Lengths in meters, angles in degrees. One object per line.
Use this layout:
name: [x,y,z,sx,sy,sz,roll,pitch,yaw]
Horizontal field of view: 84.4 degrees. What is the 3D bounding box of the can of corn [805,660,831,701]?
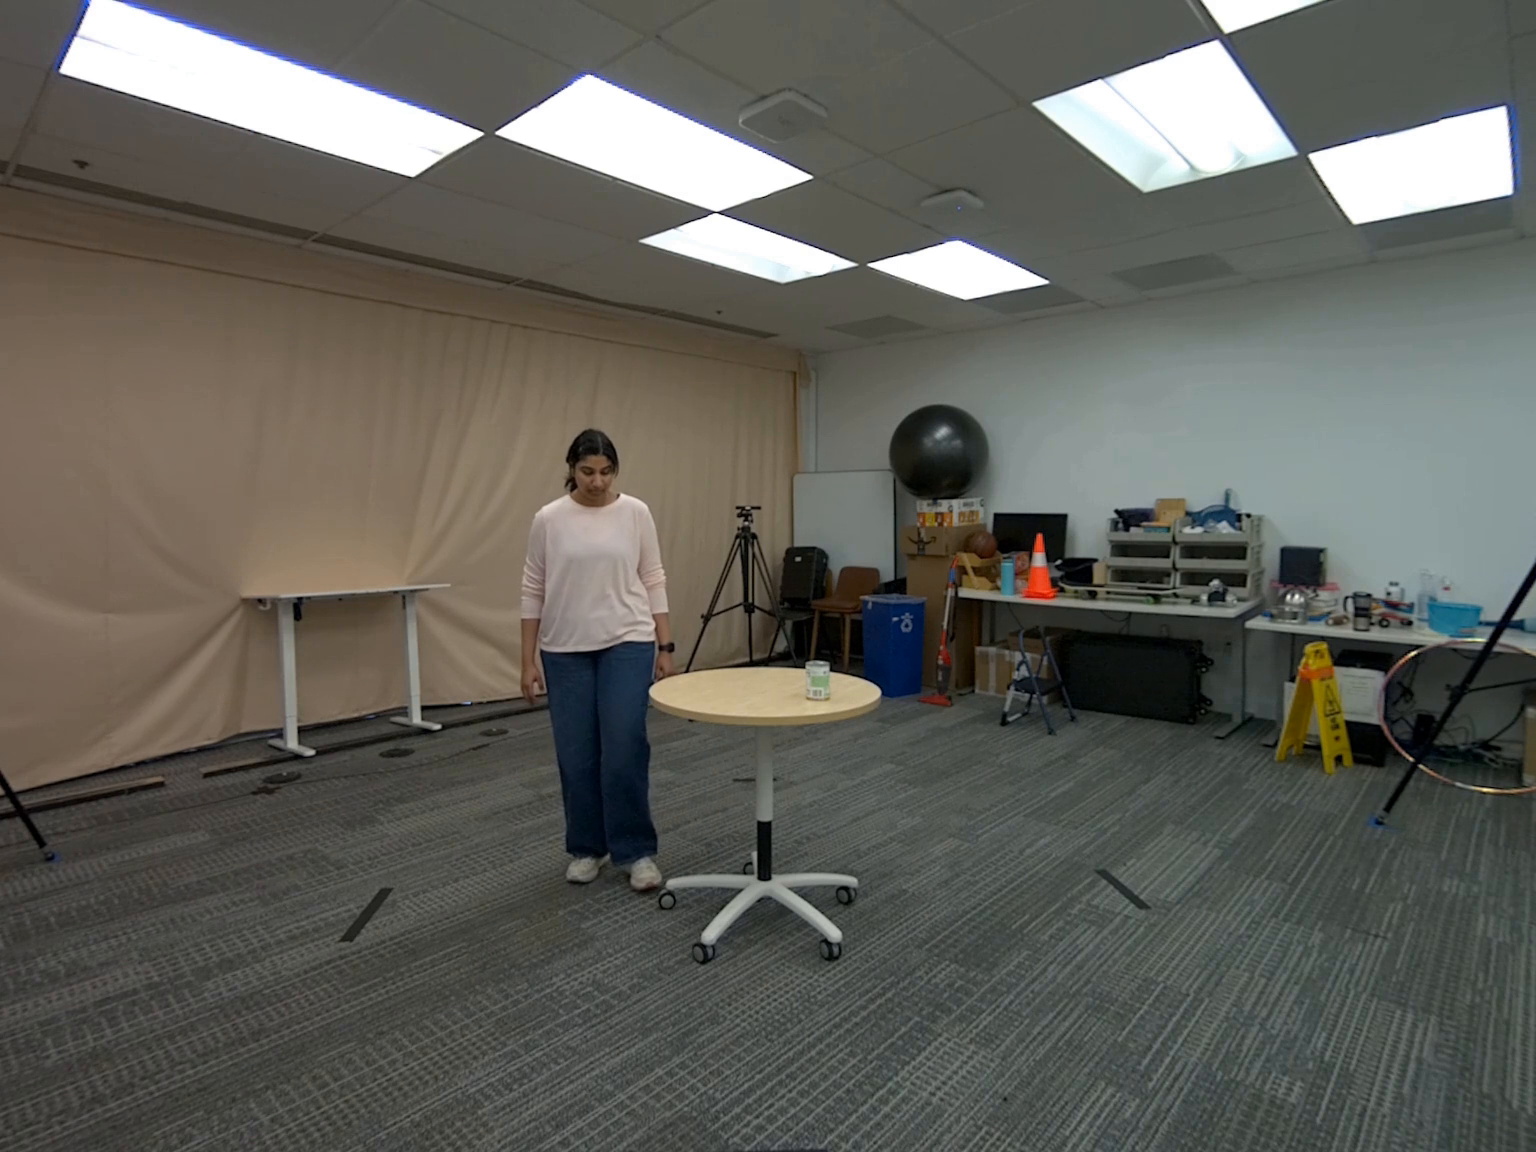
can of corn: [0.166,0.332,2.640,0.074,0.111,0.074,-1,4,-2]
